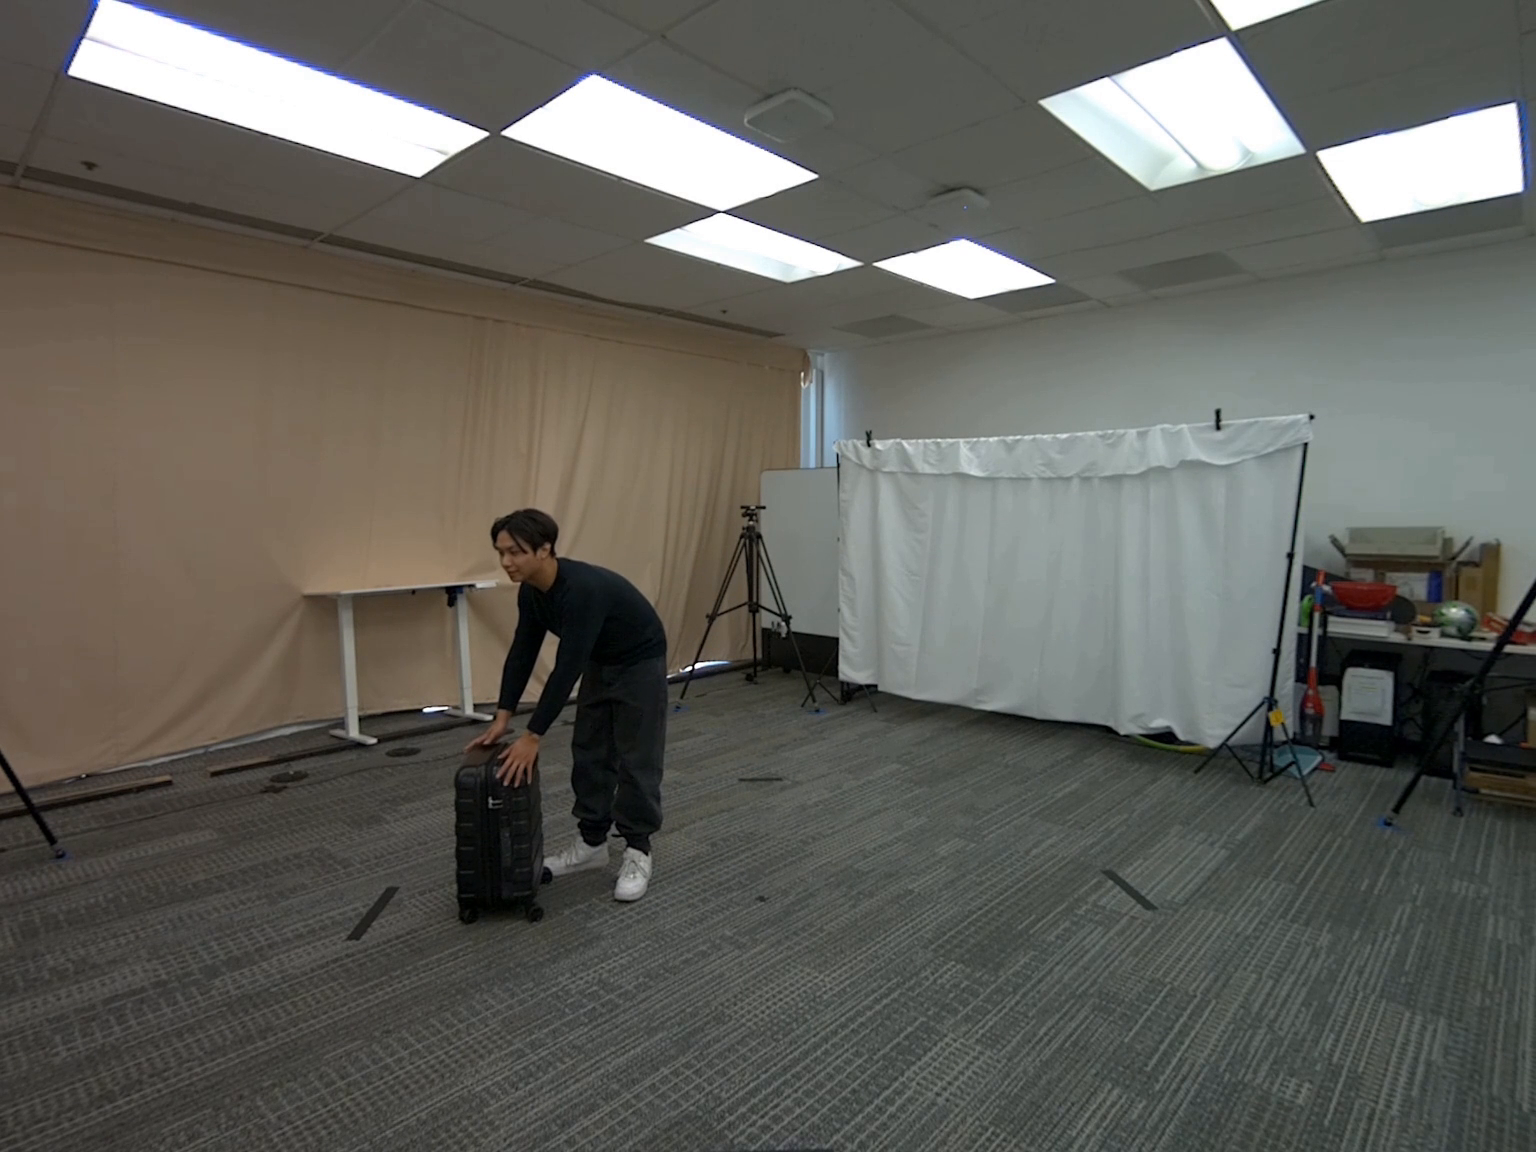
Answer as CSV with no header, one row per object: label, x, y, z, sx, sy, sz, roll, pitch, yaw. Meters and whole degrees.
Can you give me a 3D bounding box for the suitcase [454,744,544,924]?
suitcase,-0.946,0.878,2.949,0.247,0.548,0.378,-1,3,-7
